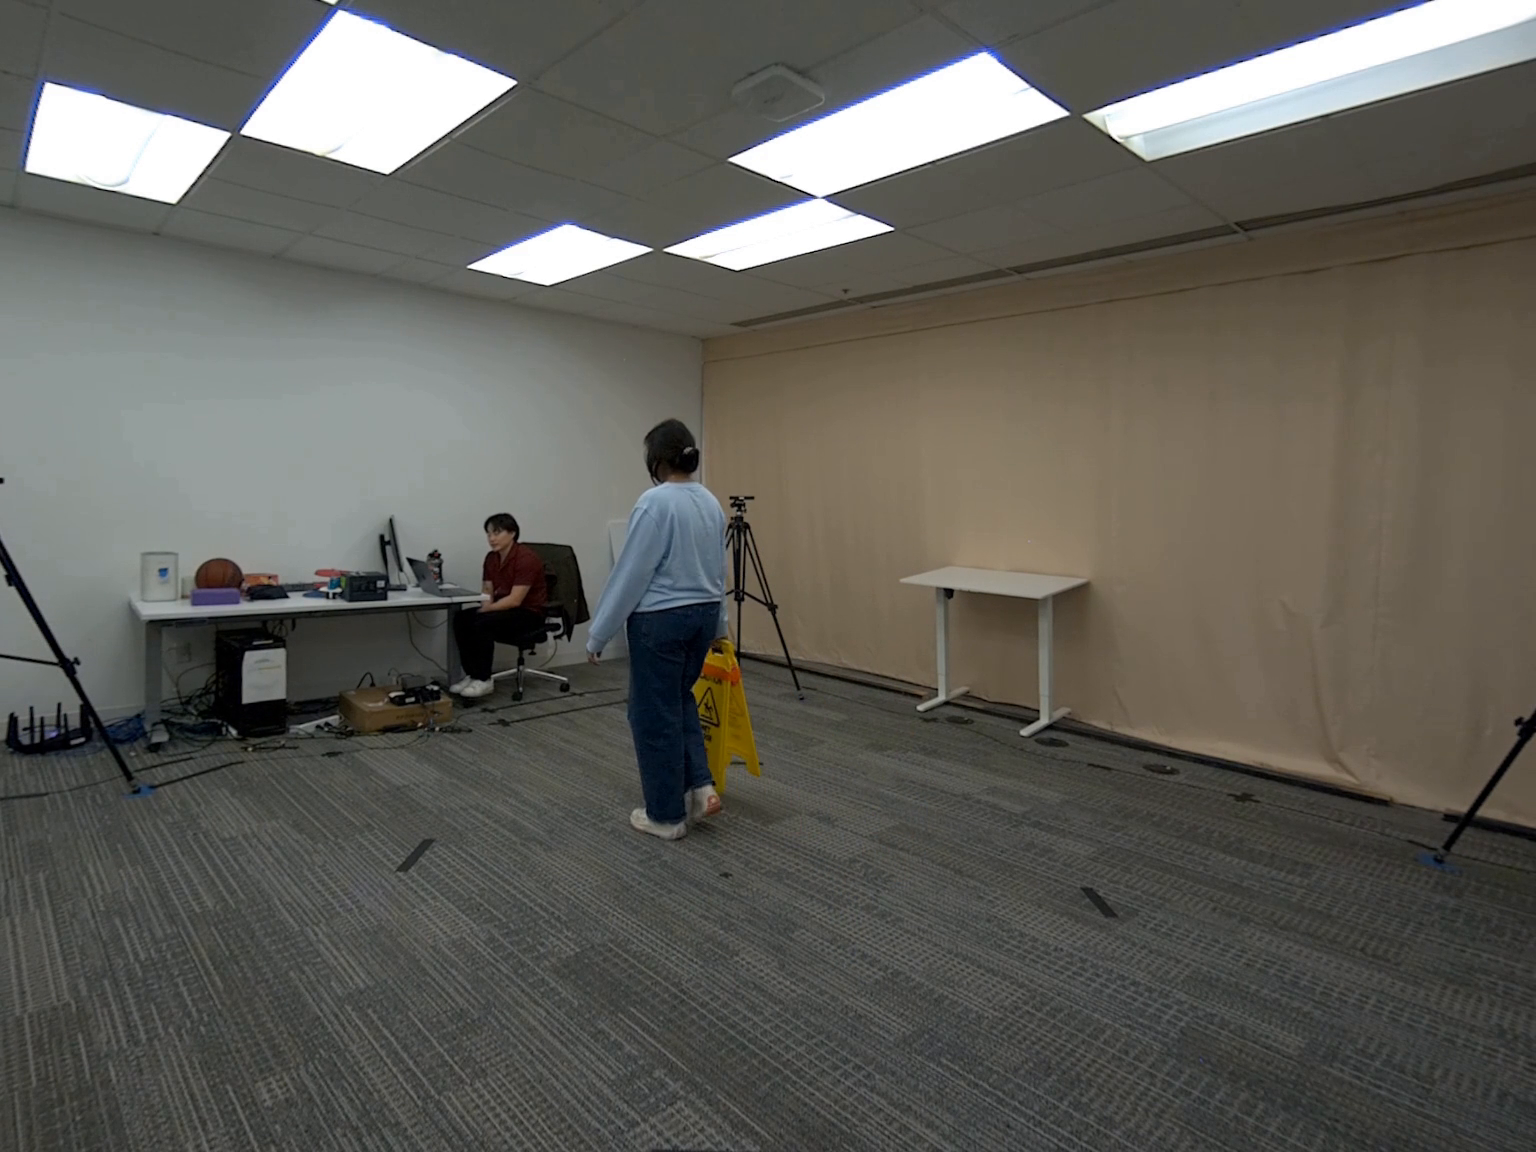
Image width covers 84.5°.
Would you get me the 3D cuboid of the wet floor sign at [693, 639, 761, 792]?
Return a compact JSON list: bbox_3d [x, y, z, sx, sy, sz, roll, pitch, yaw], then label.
[{"bbox_3d":[-0.232,0.595,3.776,0.284,0.642,0.289,-10,12,-43],"label":"wet floor sign"}]
